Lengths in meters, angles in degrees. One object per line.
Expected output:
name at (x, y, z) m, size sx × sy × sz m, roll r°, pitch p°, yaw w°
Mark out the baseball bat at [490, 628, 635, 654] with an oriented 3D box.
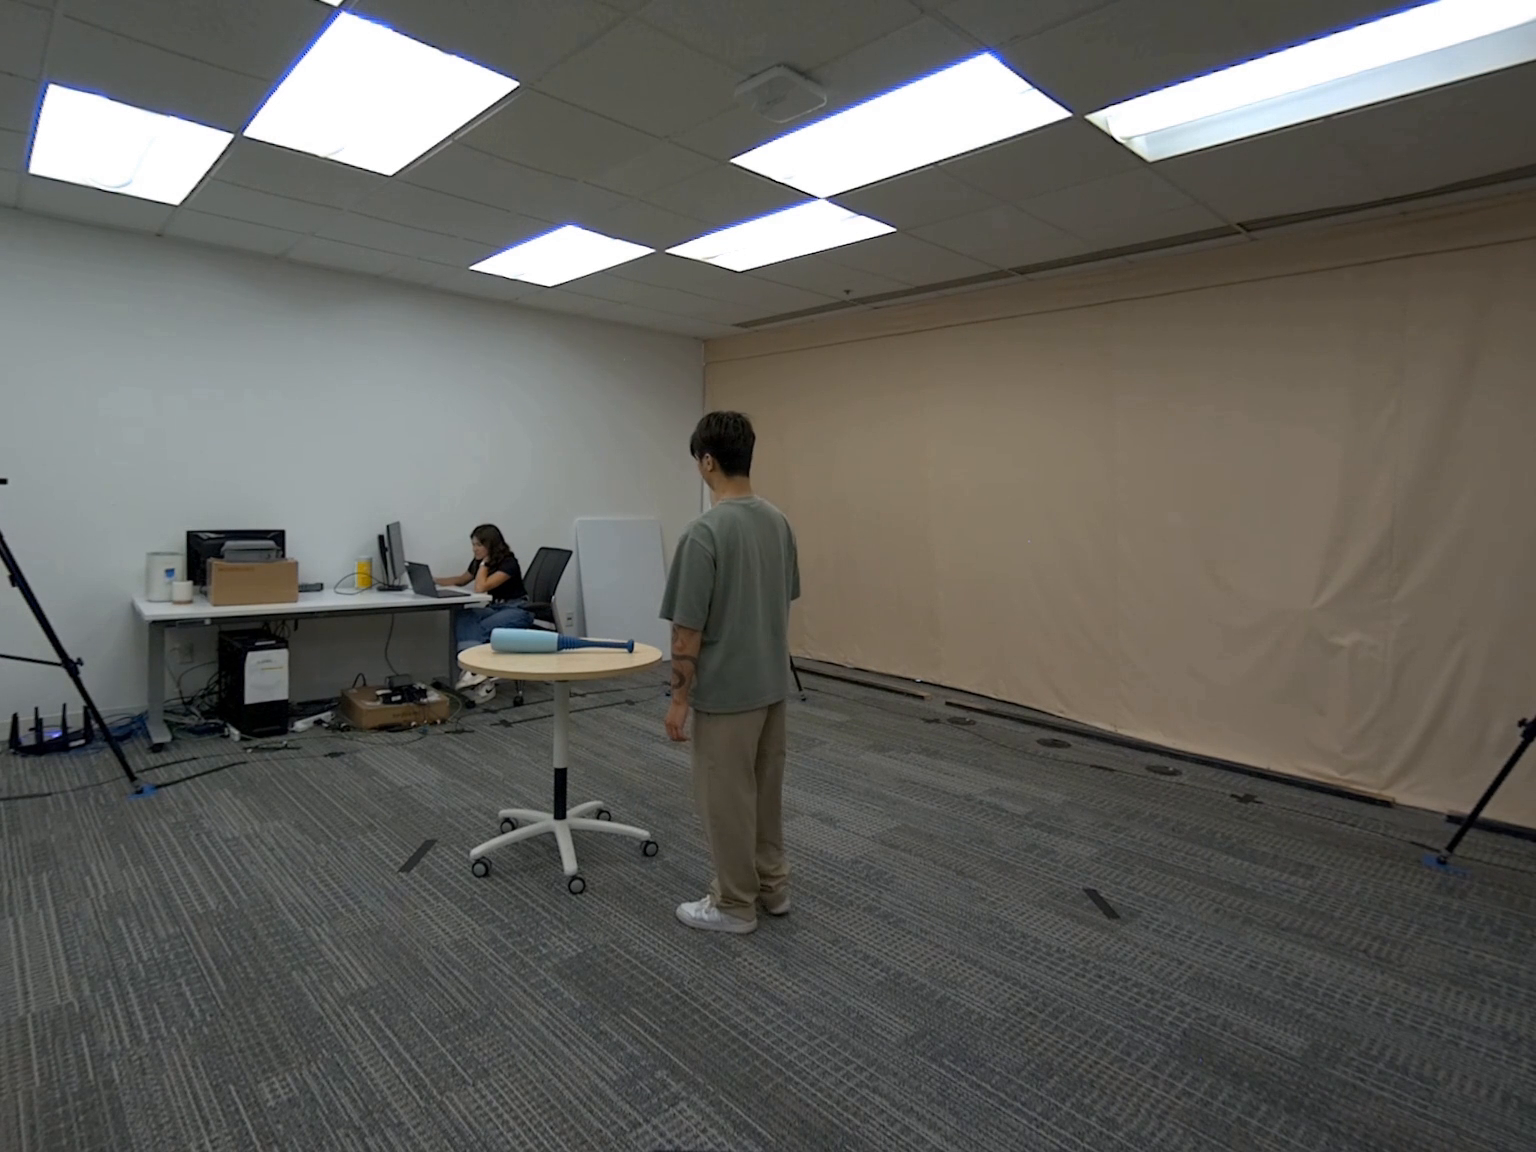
baseball bat at (-0.800, 0.260, 3.246) m, size 0.538 × 0.089 × 0.090 m, roll 3°, pitch 4°, yaw -10°
